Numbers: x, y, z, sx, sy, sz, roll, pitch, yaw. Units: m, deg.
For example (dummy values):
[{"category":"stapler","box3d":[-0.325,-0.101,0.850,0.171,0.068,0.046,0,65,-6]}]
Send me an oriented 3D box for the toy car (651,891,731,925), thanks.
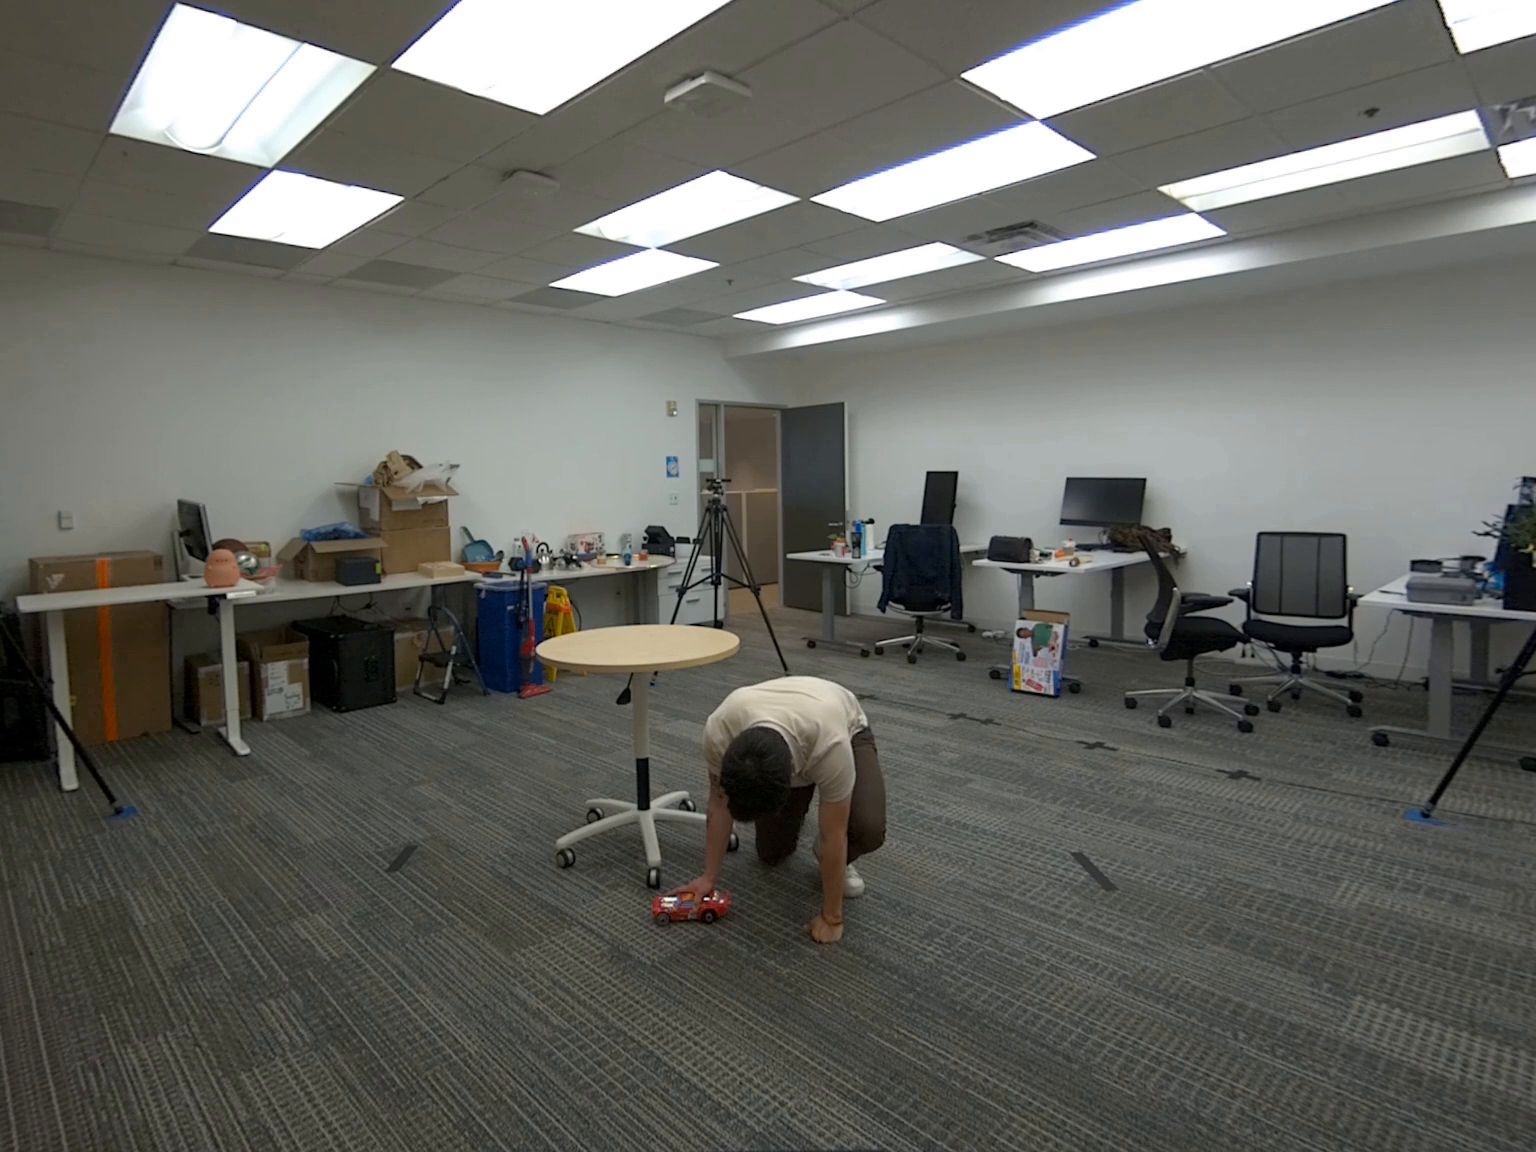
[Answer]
[{"category":"toy car","box3d":[-0.236,1.062,2.731,0.254,0.083,0.131,-12,5,-3]}]
